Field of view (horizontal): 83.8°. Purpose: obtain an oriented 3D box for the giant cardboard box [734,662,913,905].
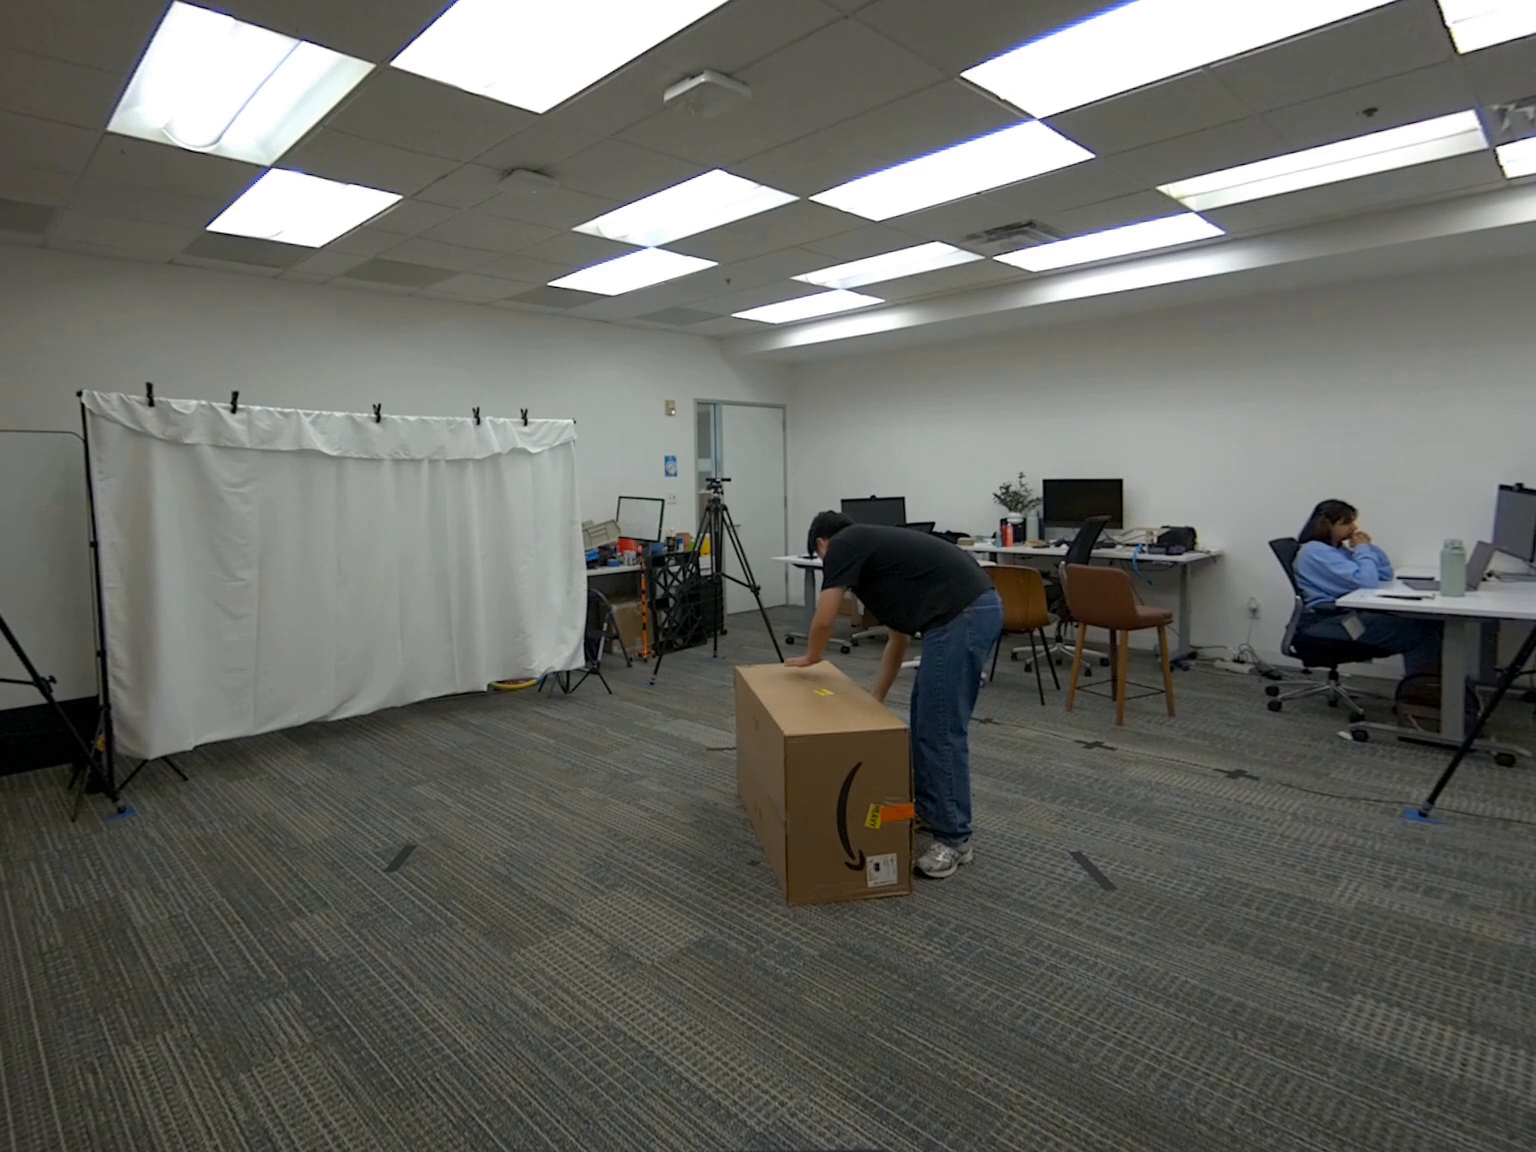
[{"bbox_3d":[0.171,0.727,3.295,0.442,0.581,1.042,-1,6,-11],"label":"giant cardboard box"}]
